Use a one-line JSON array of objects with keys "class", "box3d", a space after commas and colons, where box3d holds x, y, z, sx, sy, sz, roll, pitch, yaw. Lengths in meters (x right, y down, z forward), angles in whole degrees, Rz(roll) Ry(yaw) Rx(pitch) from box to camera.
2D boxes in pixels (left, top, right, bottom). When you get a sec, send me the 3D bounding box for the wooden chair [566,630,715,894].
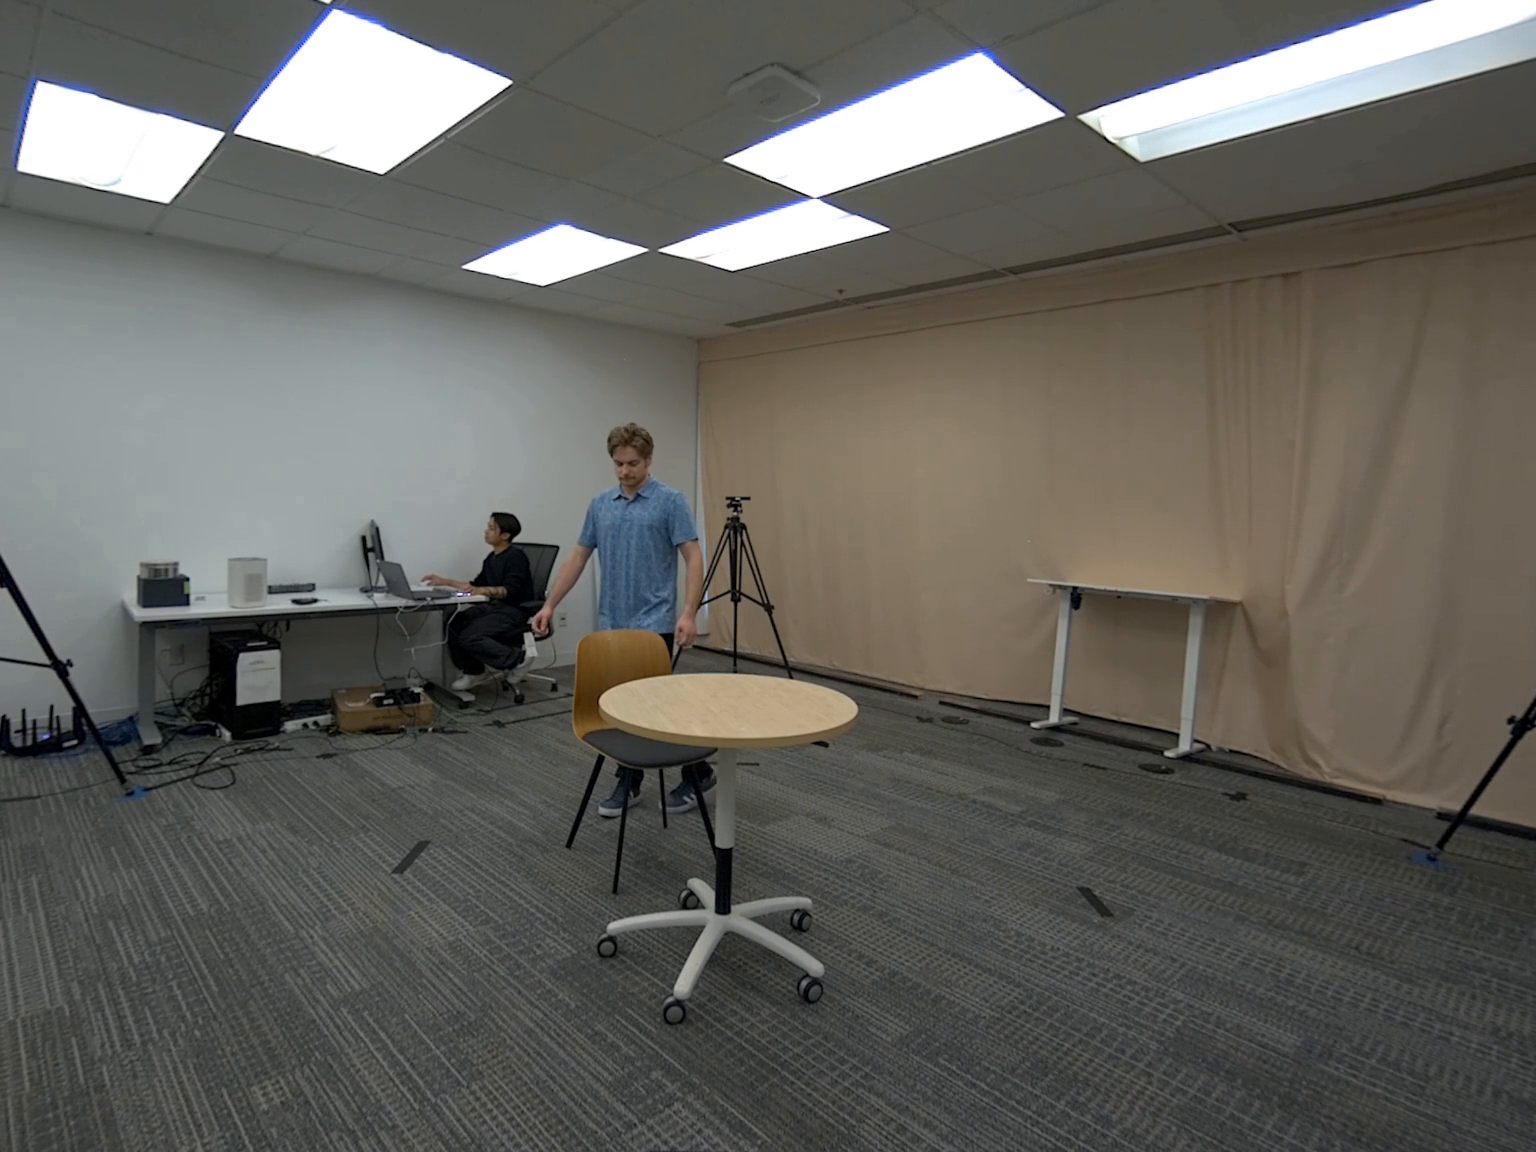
[{"class": "wooden chair", "box3d": [-0.476, 0.663, 3.214, 0.468, 0.878, 0.534, 0, -1, -35]}]
